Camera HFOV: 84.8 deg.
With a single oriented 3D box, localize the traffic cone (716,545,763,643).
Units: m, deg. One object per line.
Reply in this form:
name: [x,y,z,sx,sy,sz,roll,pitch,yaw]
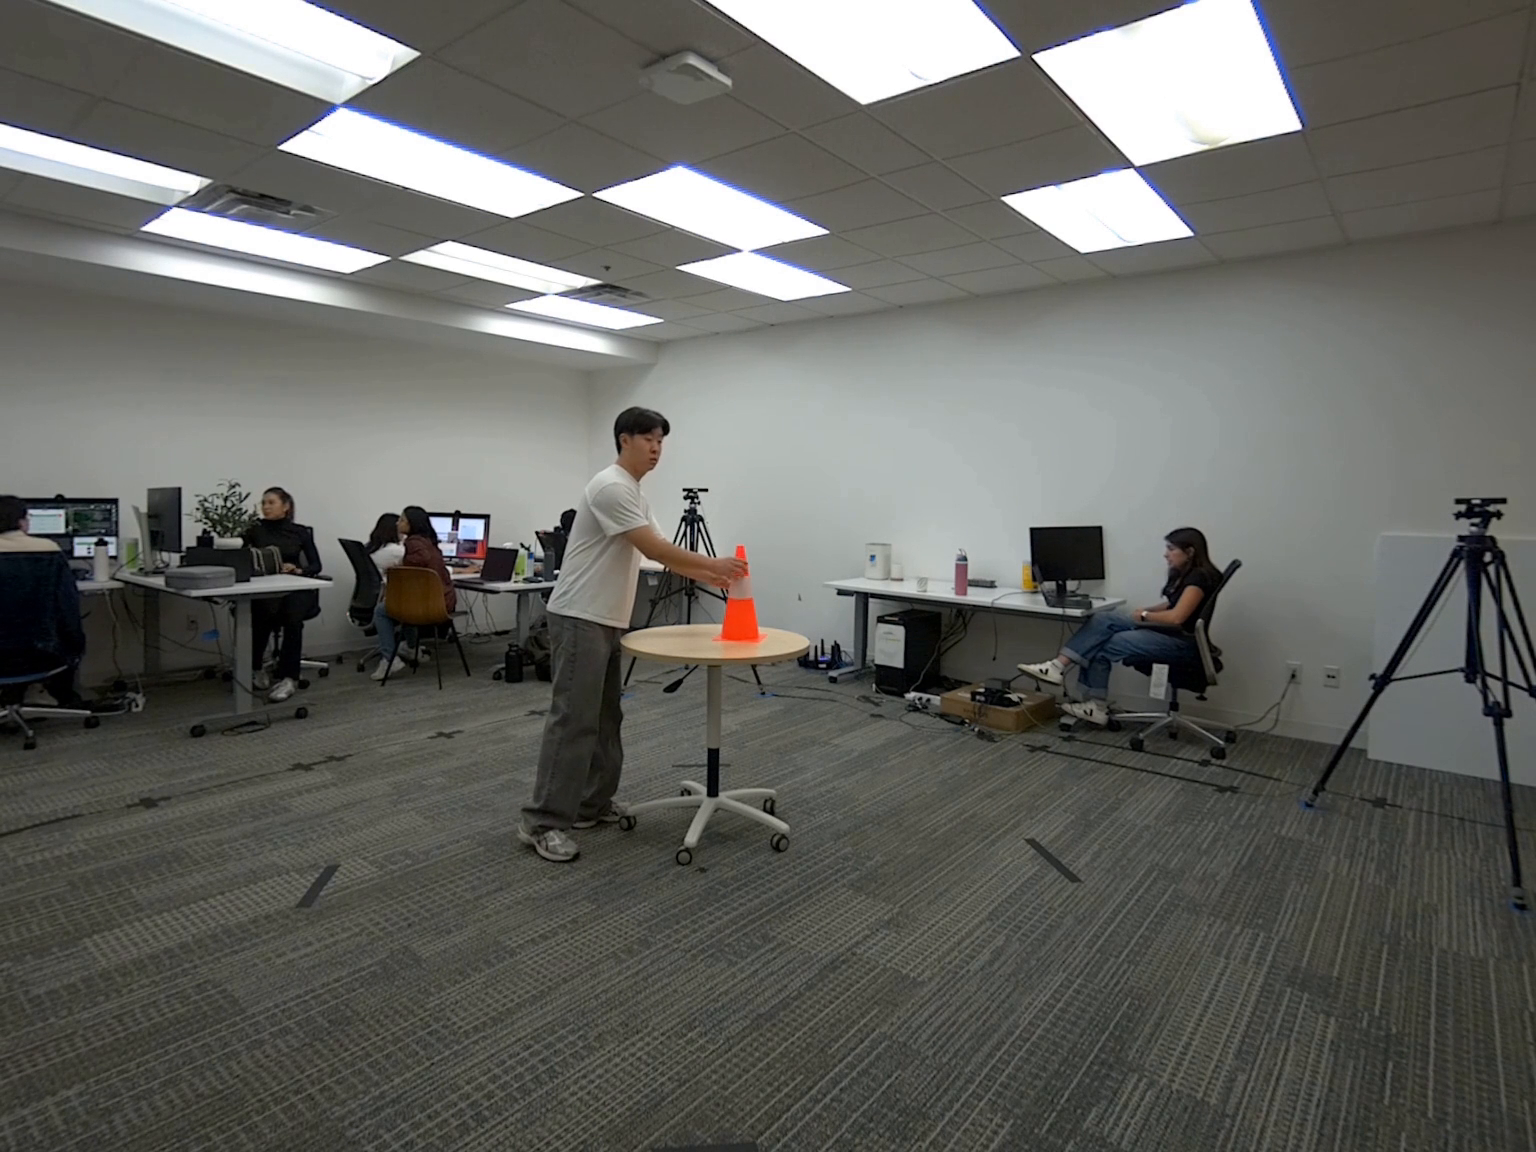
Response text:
traffic cone: [-0.109,0.055,3.487,0.208,0.382,0.201,3,5,13]
